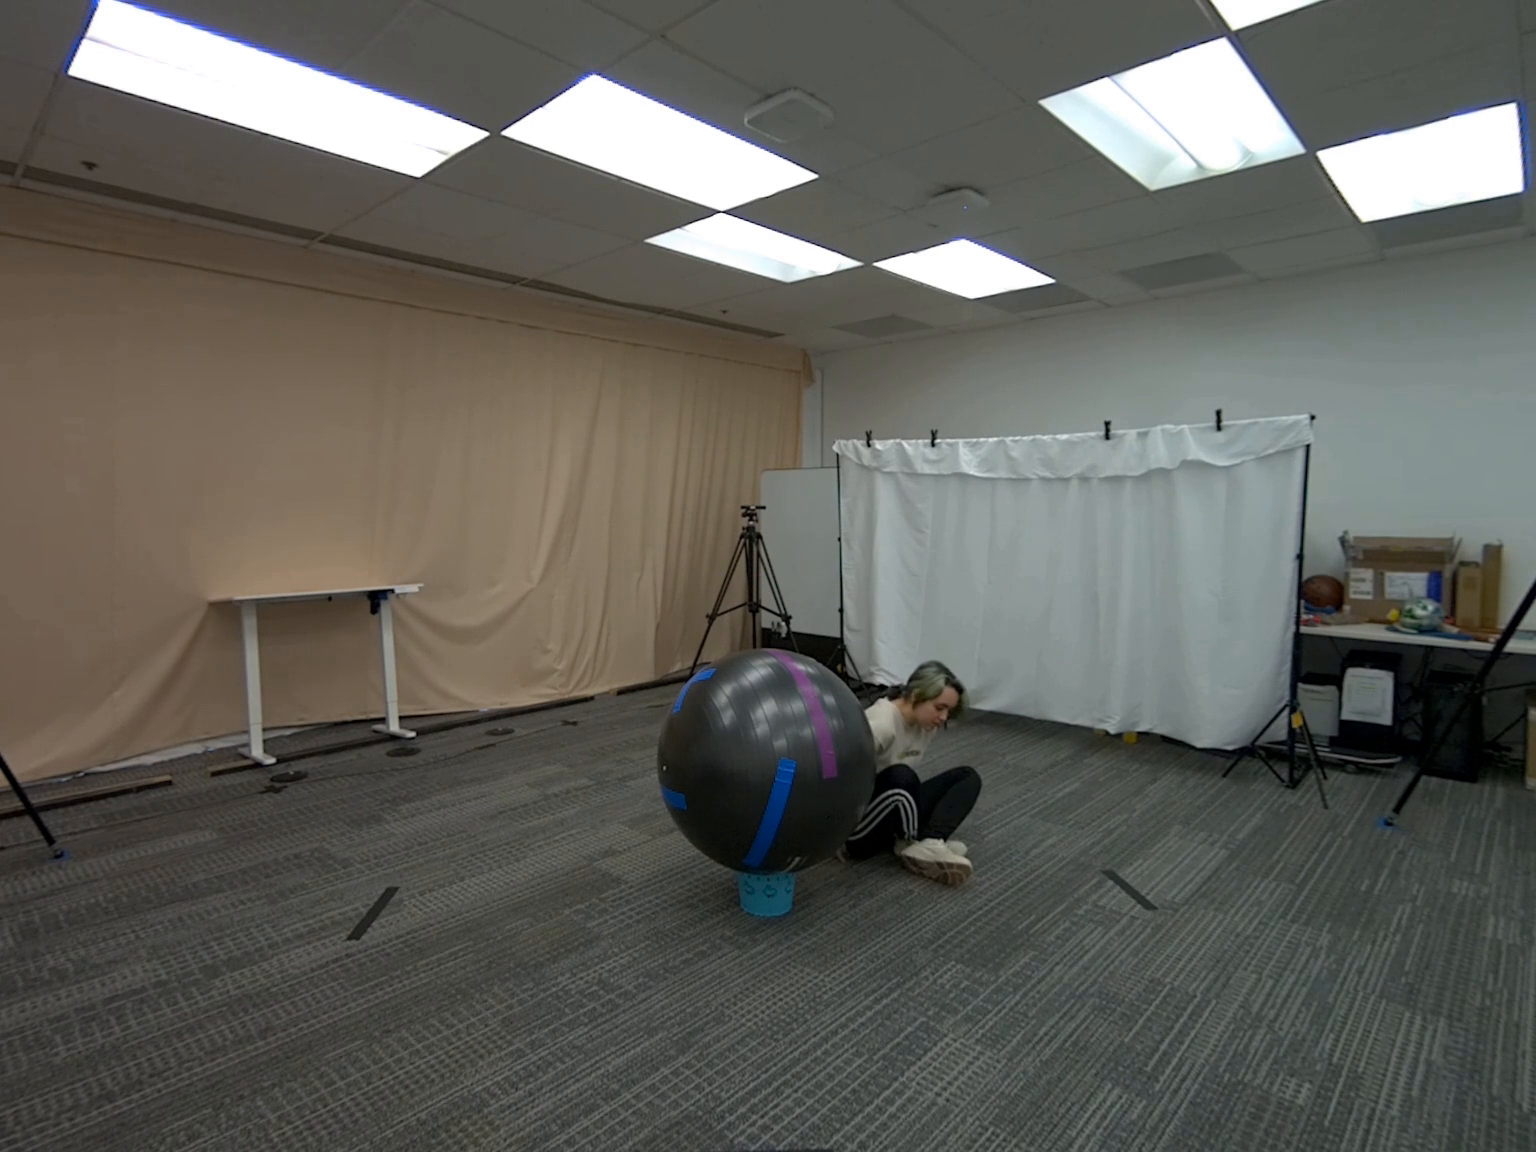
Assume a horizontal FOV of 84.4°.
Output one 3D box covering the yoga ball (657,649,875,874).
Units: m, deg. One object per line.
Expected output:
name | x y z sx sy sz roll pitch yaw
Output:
yoga ball | -0.004 0.633 2.924 0.757 0.756 0.760 0 4 -2
